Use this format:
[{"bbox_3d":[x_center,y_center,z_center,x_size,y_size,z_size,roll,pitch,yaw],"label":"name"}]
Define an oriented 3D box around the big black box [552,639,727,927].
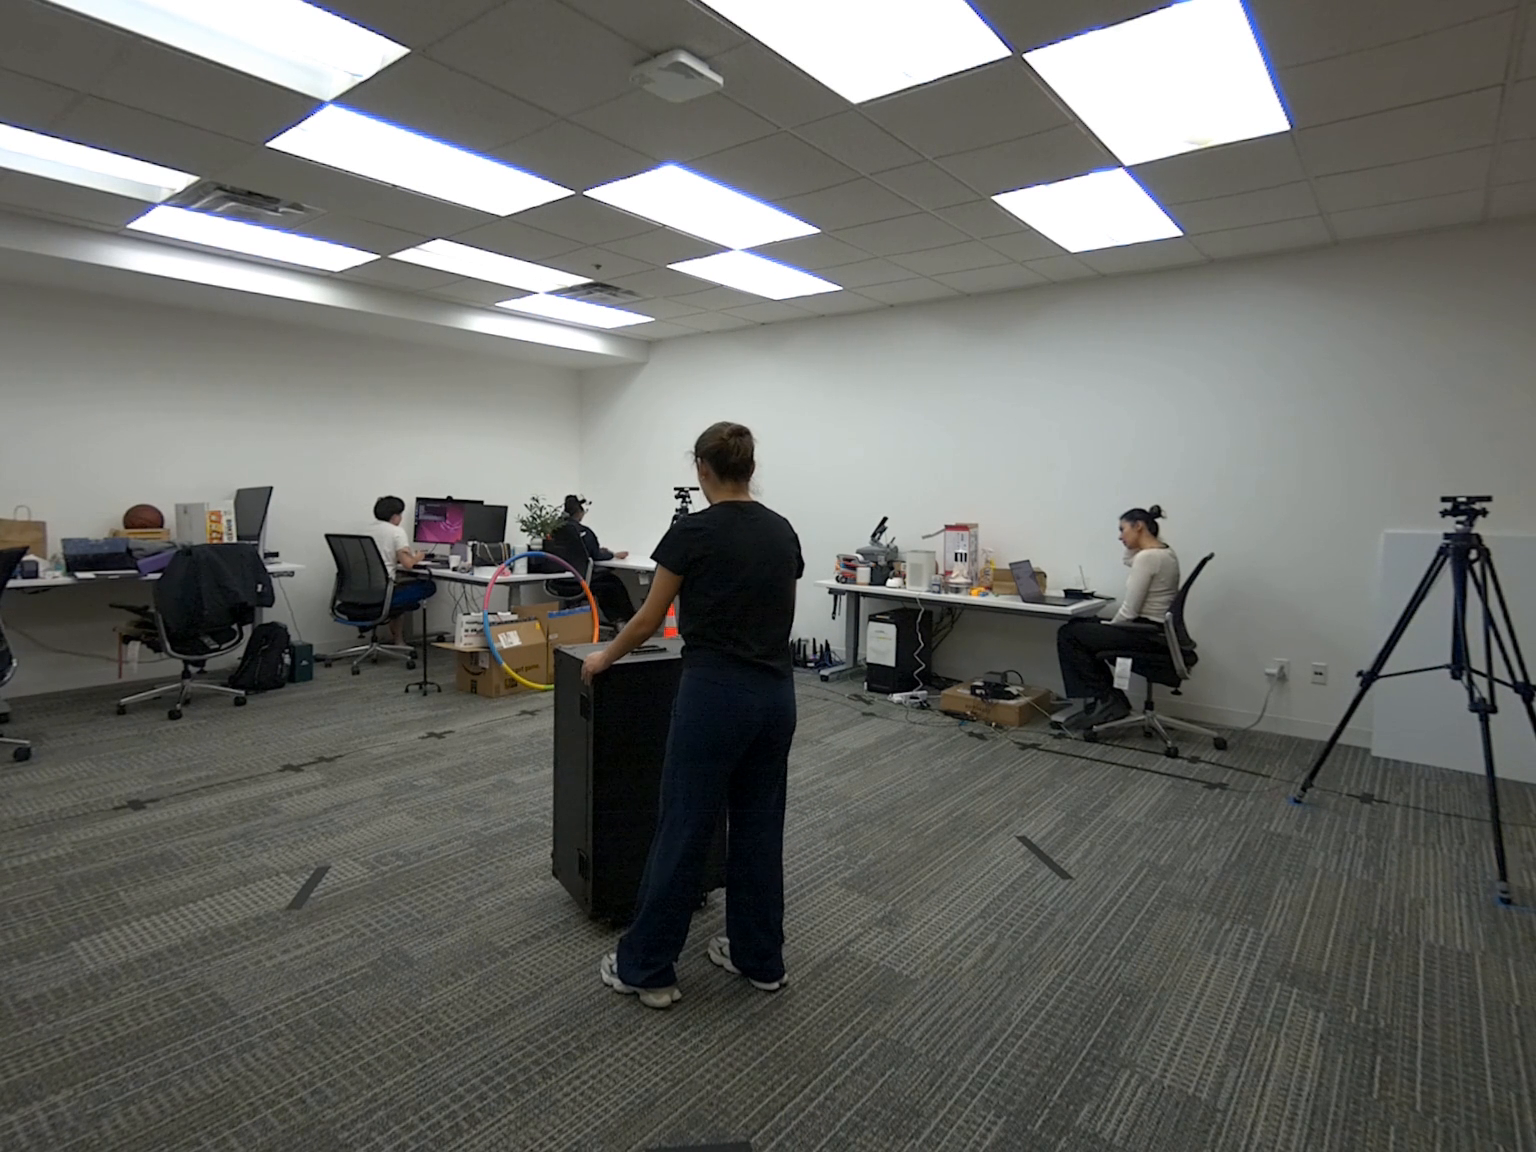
[{"bbox_3d":[-0.429,0.660,2.851,0.507,0.860,0.408,-1,3,-31],"label":"big black box"}]
